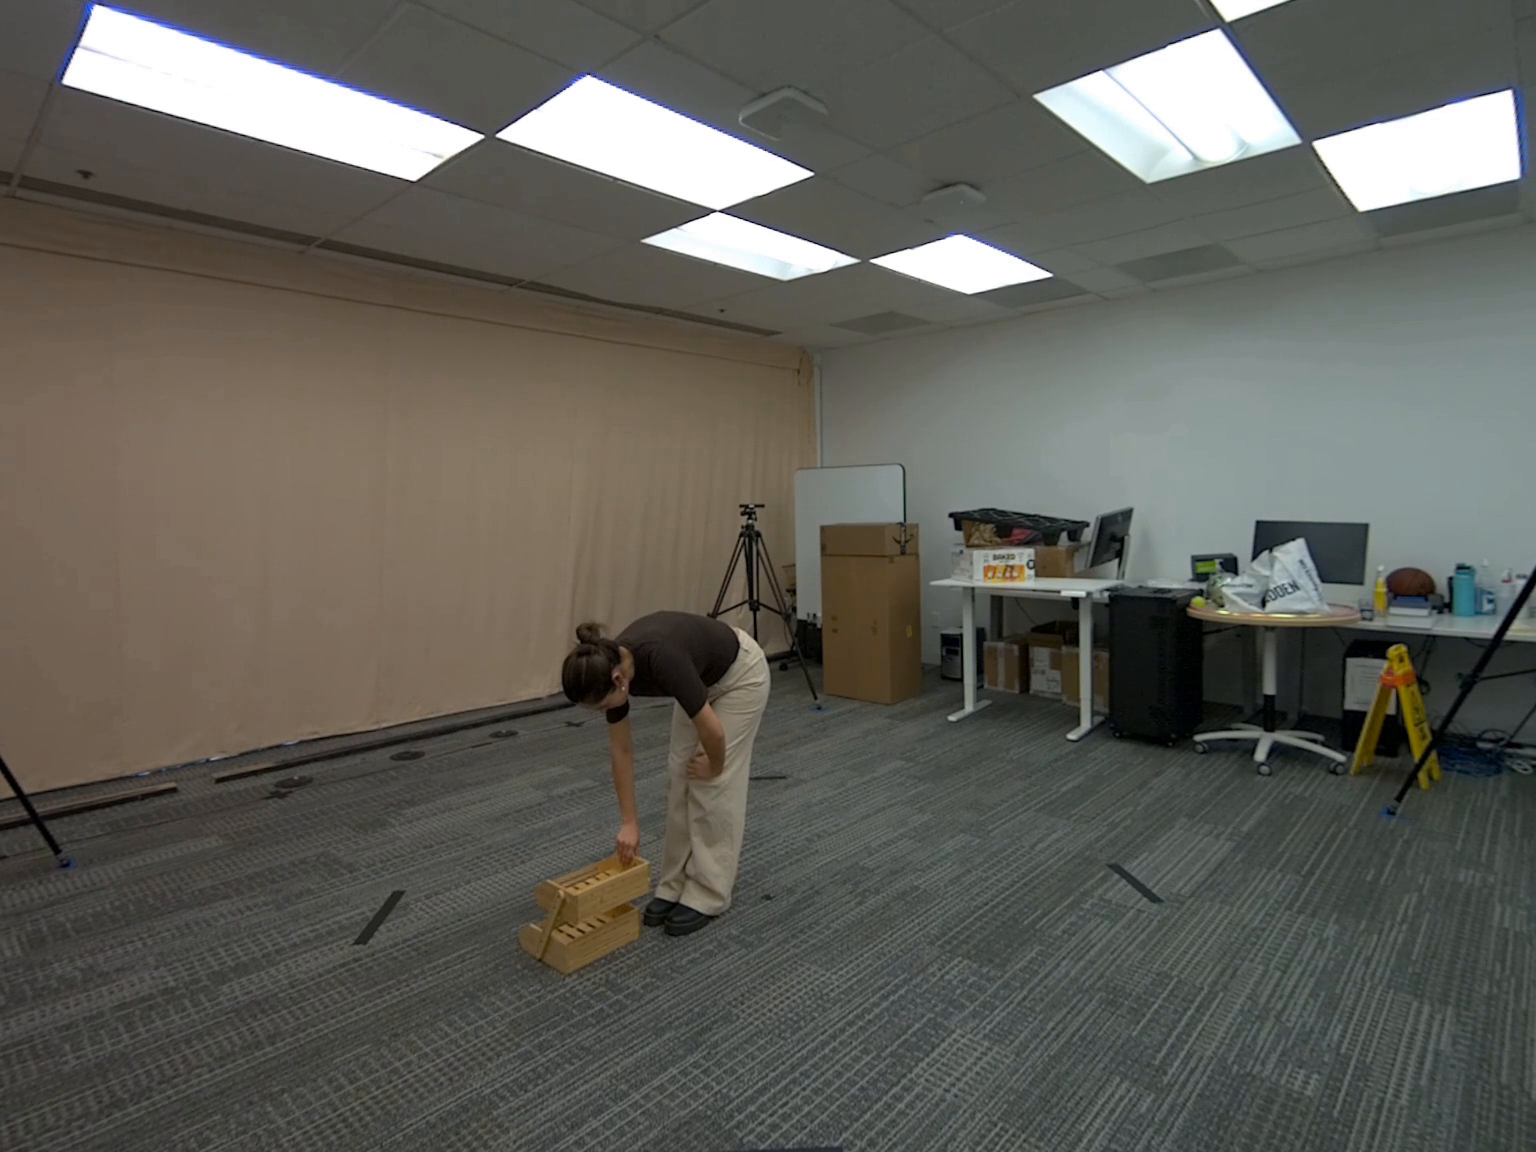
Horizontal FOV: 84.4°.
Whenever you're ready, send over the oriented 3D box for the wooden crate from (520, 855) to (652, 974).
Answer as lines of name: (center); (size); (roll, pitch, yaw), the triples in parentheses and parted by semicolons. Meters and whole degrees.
wooden crate: (-0.585, 1.043, 2.680); (0.312, 0.272, 0.315); (4, 6, 42)
